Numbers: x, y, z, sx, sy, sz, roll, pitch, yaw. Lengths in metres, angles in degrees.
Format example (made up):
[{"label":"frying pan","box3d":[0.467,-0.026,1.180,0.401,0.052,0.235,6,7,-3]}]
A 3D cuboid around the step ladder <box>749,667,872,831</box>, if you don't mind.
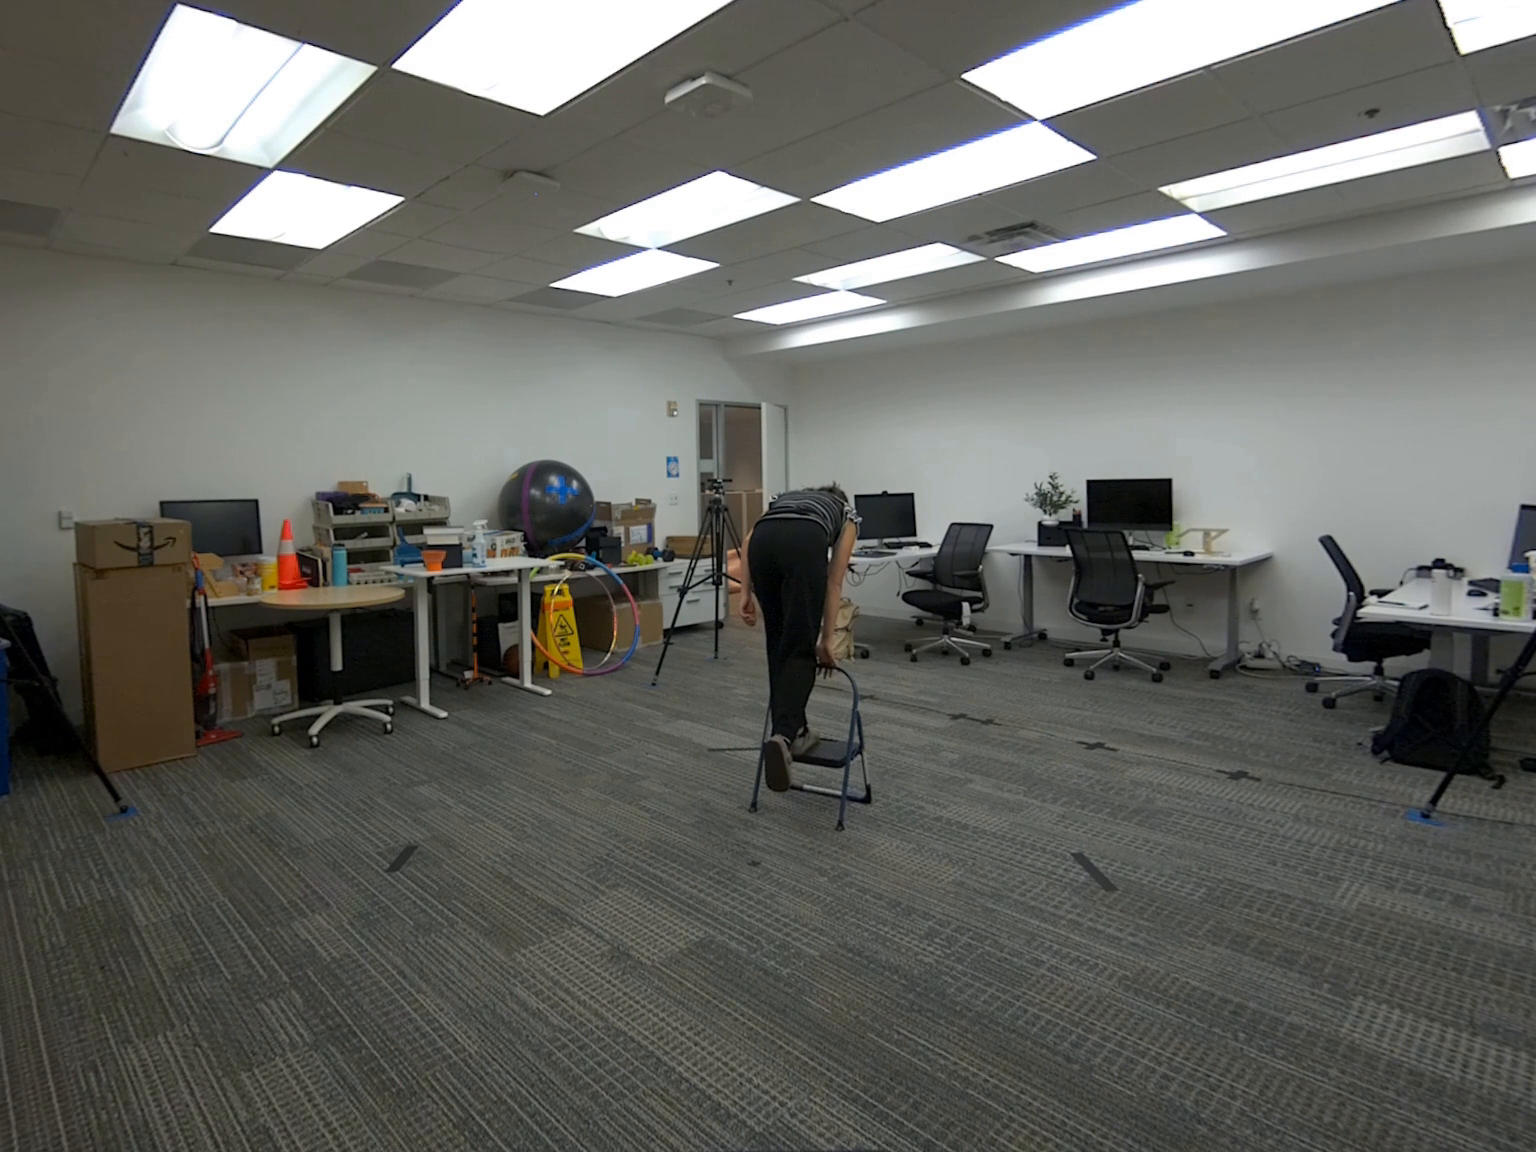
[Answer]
[{"label":"step ladder","box3d":[0.184,0.684,3.617,0.442,0.604,0.341,2,5,30]}]
